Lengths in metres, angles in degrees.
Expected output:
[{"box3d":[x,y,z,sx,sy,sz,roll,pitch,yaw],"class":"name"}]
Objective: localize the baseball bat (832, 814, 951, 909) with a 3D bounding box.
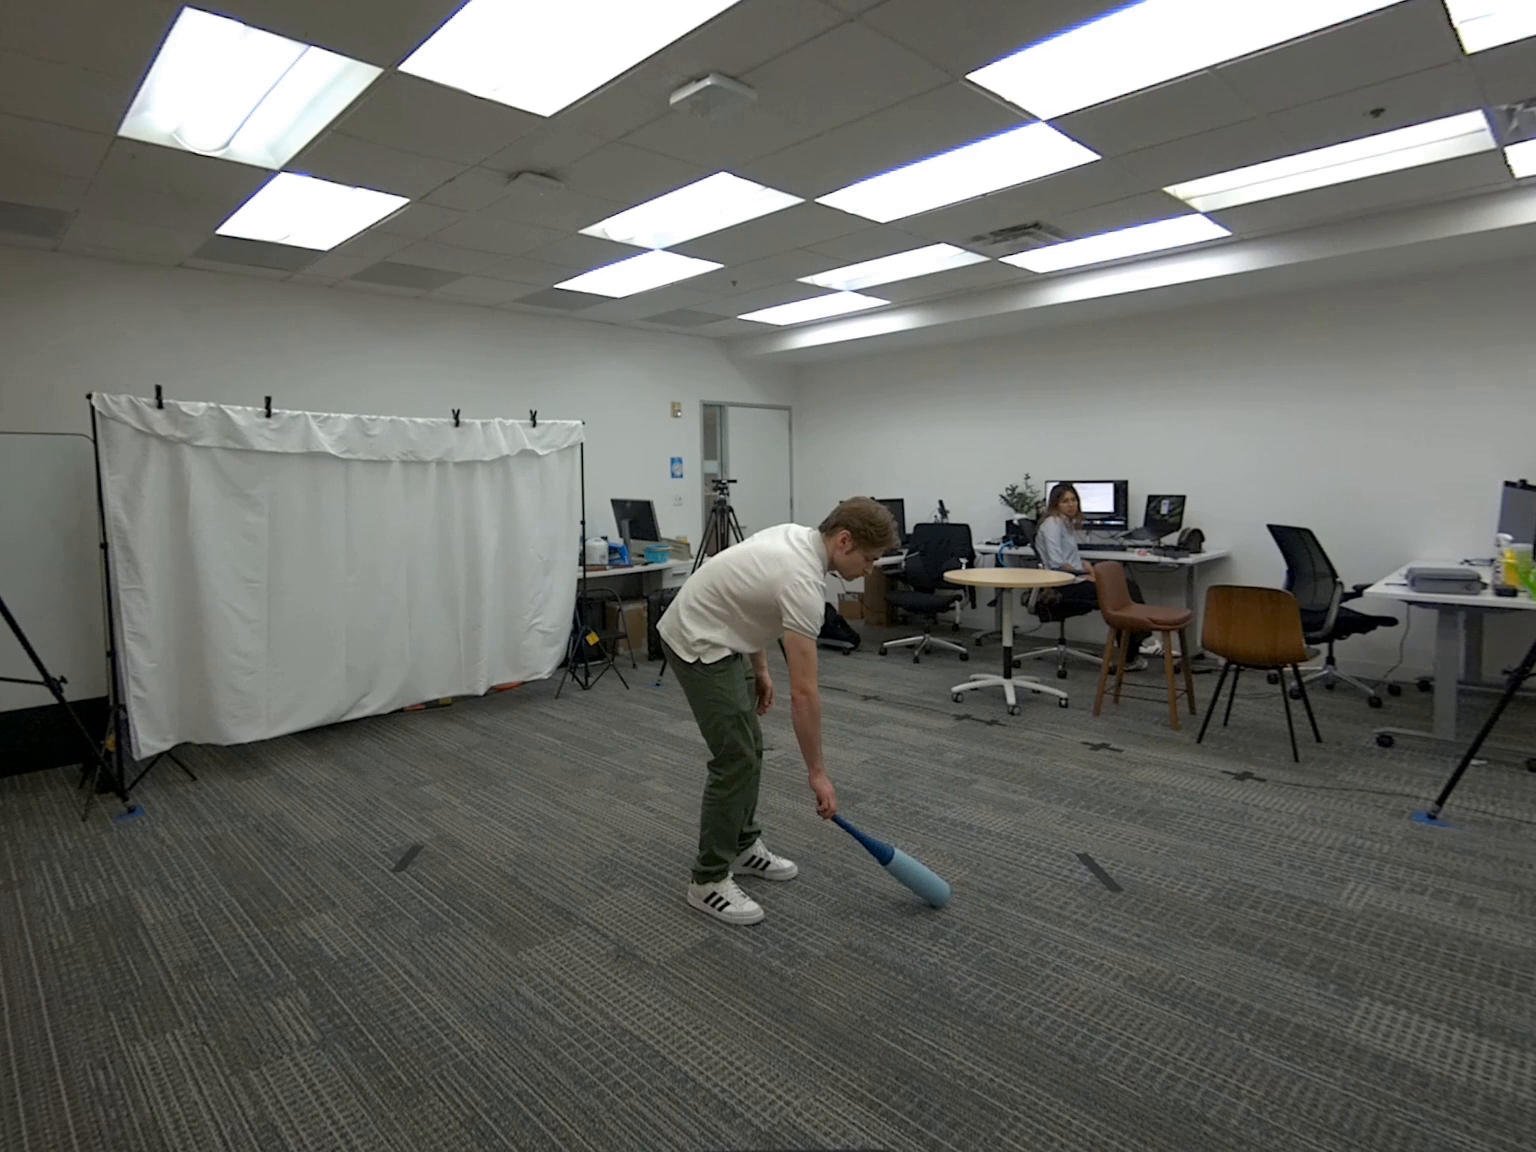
[{"box3d":[0.379,0.884,2.738,0.534,0.089,0.090,39,-6,-12],"class":"baseball bat"}]
